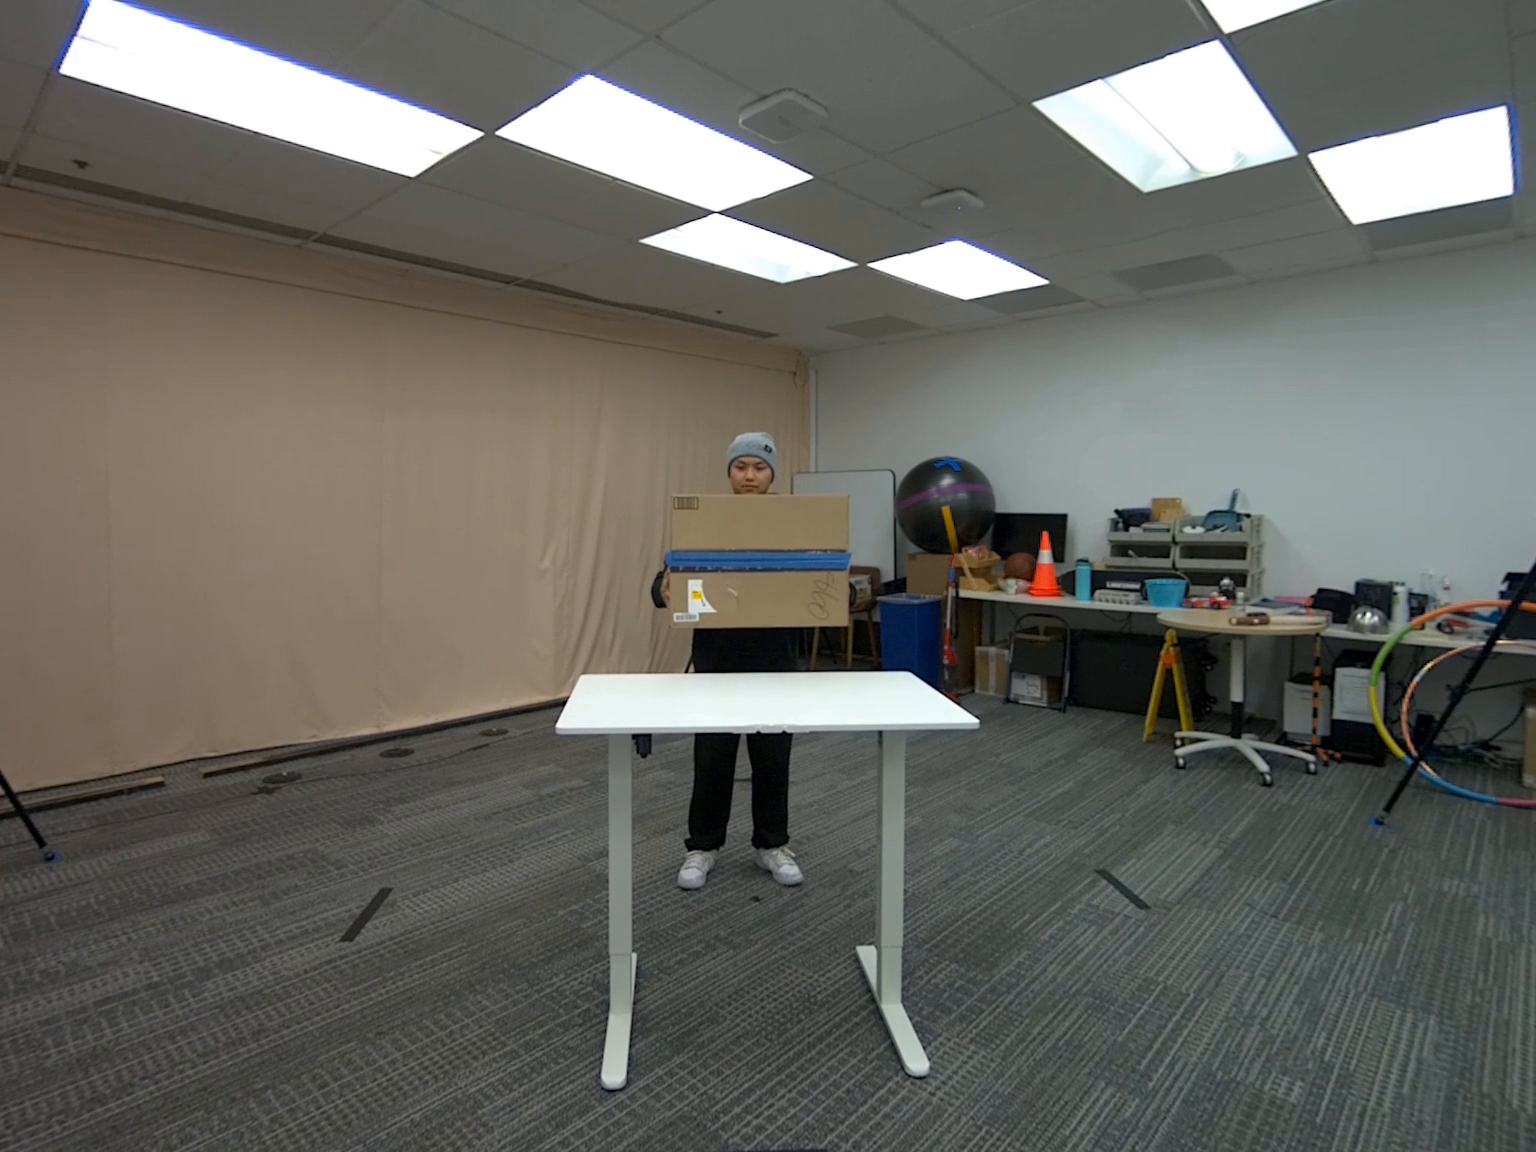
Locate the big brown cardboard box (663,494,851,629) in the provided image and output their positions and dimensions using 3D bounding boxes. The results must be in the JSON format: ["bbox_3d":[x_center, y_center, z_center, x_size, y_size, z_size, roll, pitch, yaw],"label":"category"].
[{"bbox_3d":[-0.037,-0.046,2.741,0.587,0.417,0.234,0,0,-3],"label":"big brown cardboard box"}]
